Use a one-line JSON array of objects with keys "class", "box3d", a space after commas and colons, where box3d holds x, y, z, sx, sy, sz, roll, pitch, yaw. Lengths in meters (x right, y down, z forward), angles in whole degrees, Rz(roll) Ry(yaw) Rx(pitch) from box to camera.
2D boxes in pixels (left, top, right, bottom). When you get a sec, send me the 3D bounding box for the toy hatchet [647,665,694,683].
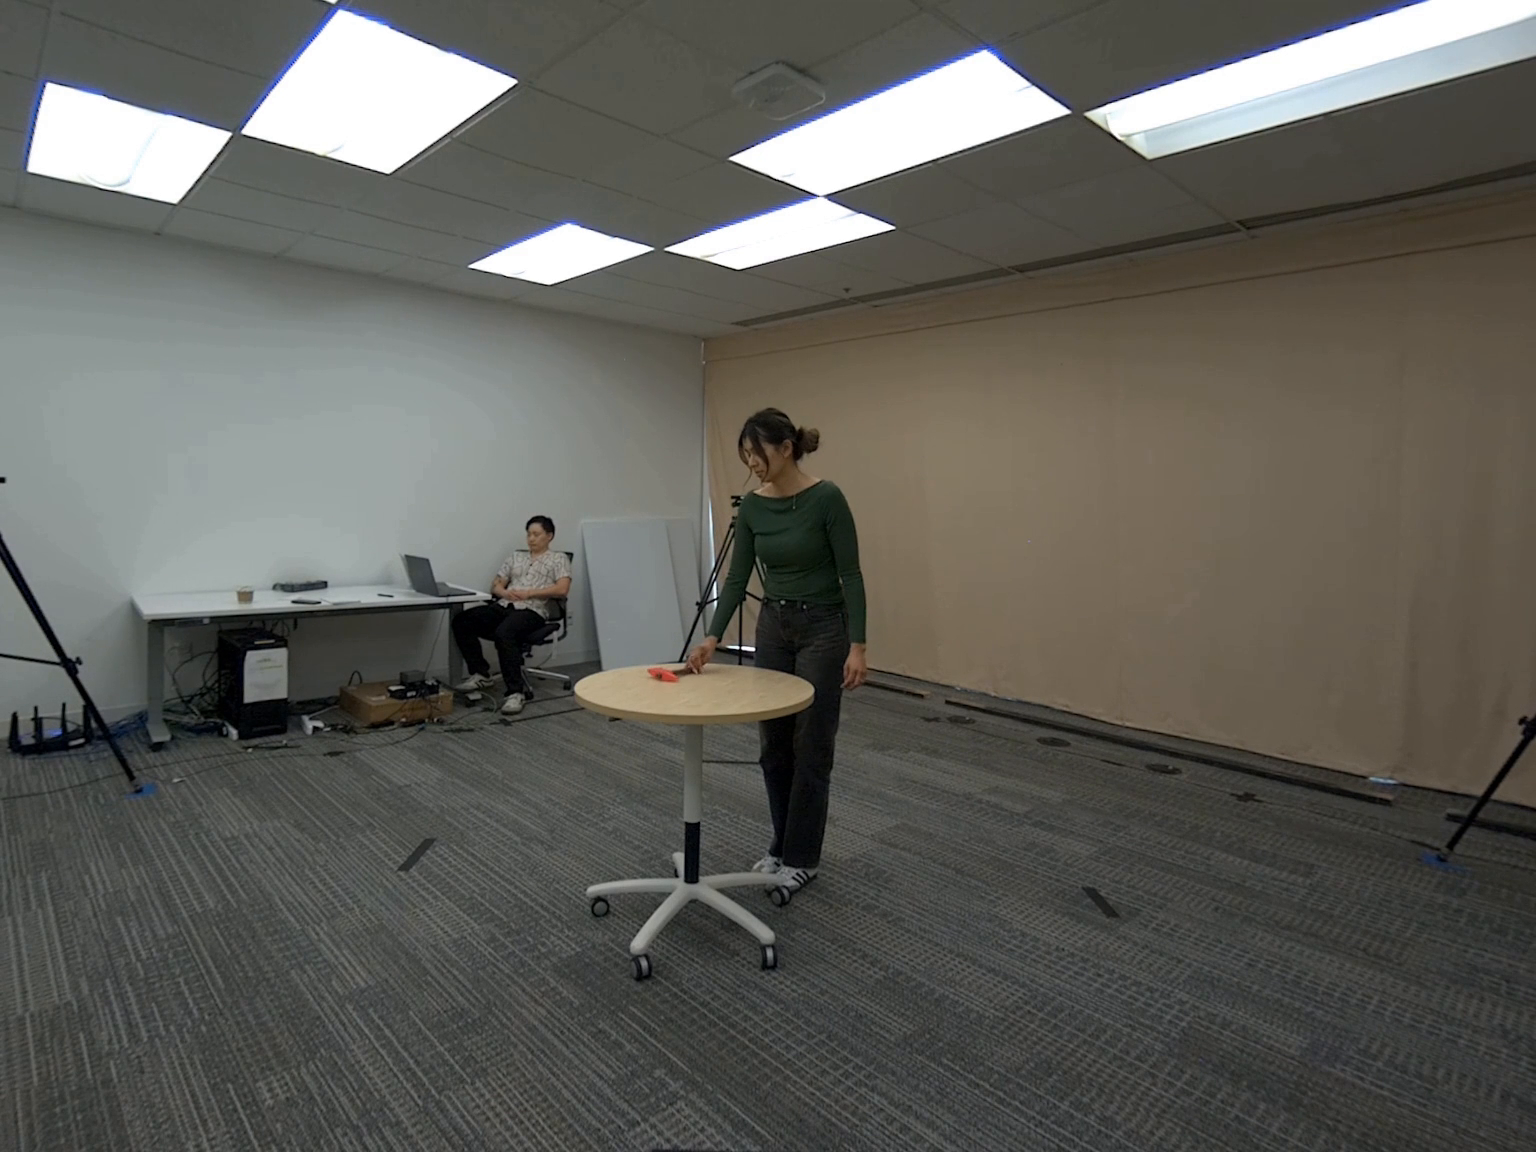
[{"class": "toy hatchet", "box3d": [-0.328, 0.323, 2.887, 0.132, 0.029, 0.267, 6, 5, 13]}]
